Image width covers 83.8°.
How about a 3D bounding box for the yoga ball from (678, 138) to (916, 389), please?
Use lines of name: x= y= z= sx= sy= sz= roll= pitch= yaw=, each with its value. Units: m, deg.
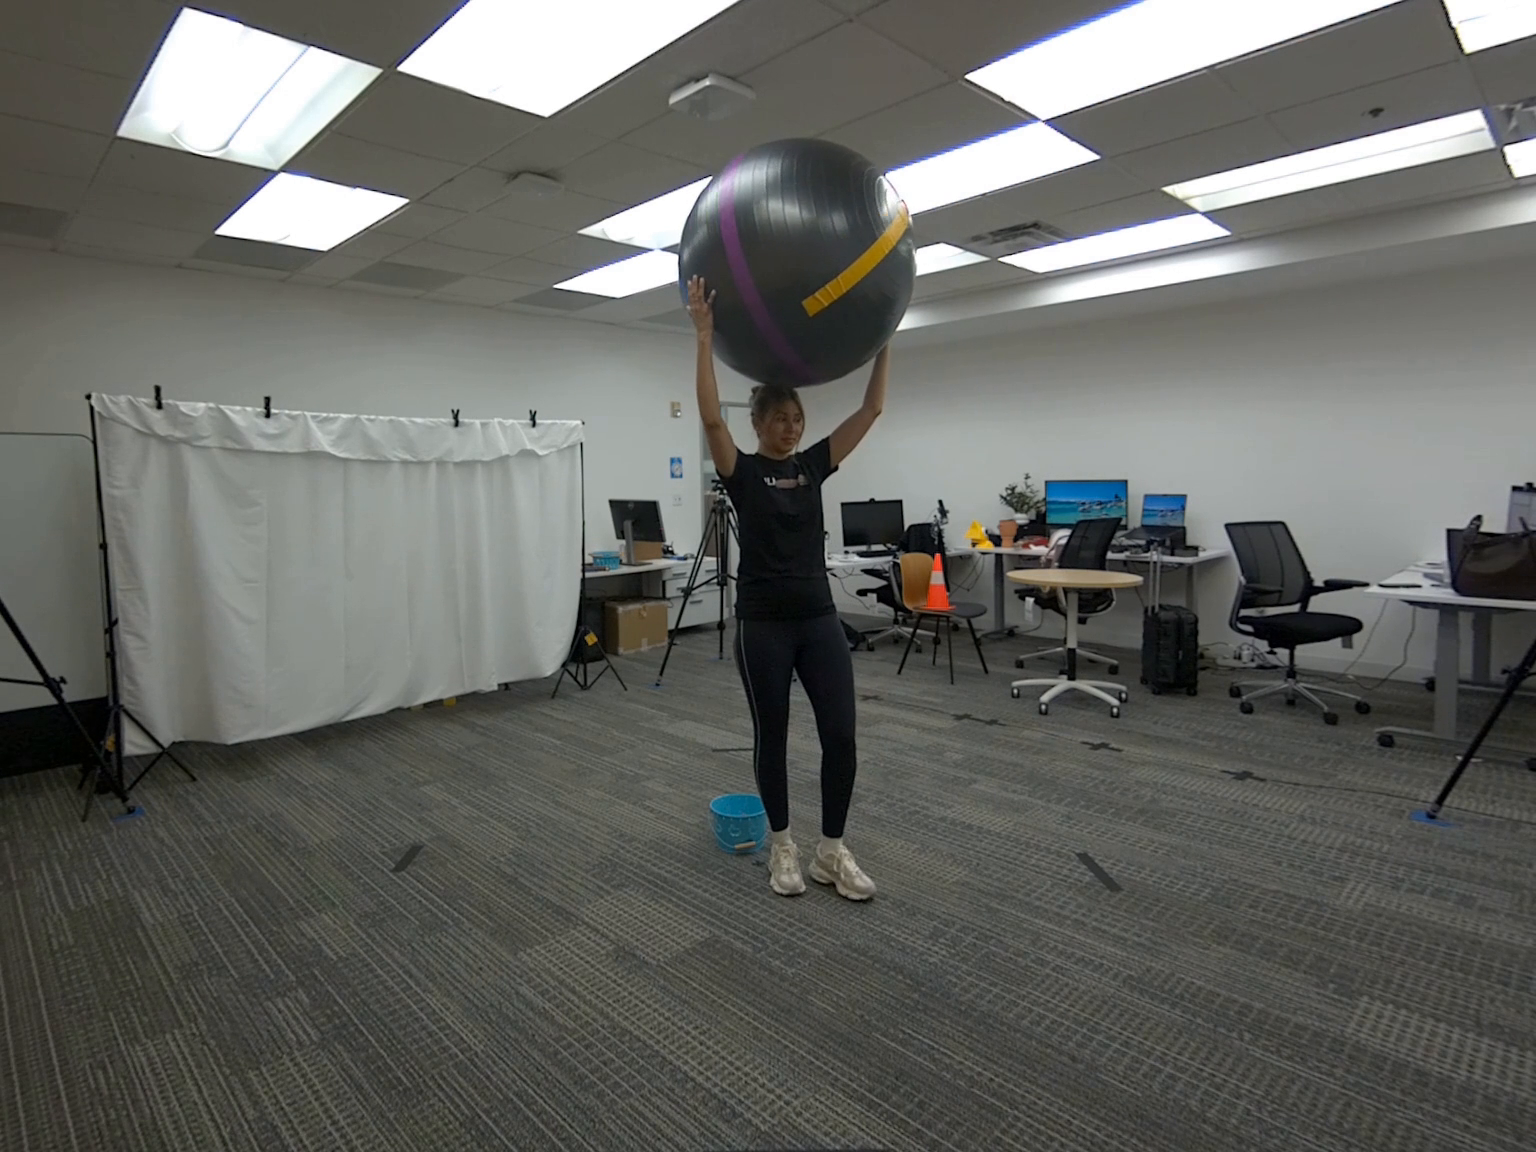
yoga ball: x=0.094 y=-0.976 z=2.722 sx=0.757 sy=0.755 sz=0.762 roll=-1 pitch=5 yaw=-2
